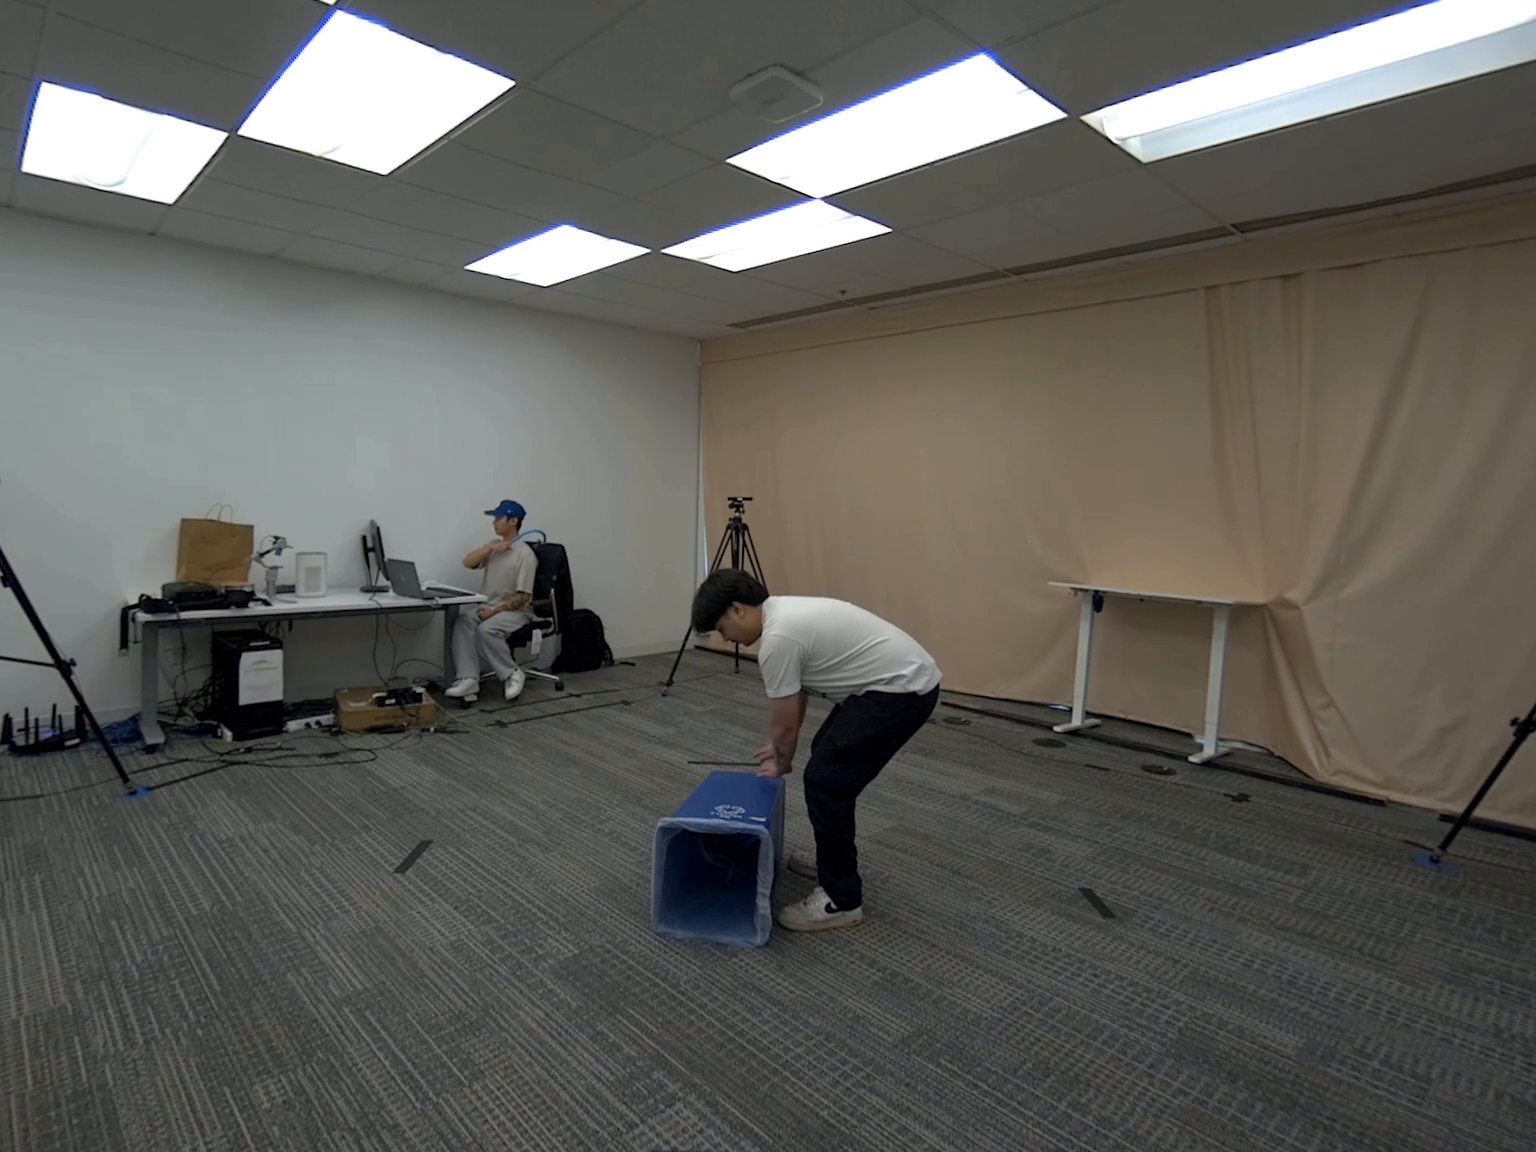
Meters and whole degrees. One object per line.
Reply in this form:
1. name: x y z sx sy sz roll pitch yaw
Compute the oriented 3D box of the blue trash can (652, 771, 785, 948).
1. blue trash can: -0.145 0.952 2.982 0.376 0.378 0.709 2 2 7
